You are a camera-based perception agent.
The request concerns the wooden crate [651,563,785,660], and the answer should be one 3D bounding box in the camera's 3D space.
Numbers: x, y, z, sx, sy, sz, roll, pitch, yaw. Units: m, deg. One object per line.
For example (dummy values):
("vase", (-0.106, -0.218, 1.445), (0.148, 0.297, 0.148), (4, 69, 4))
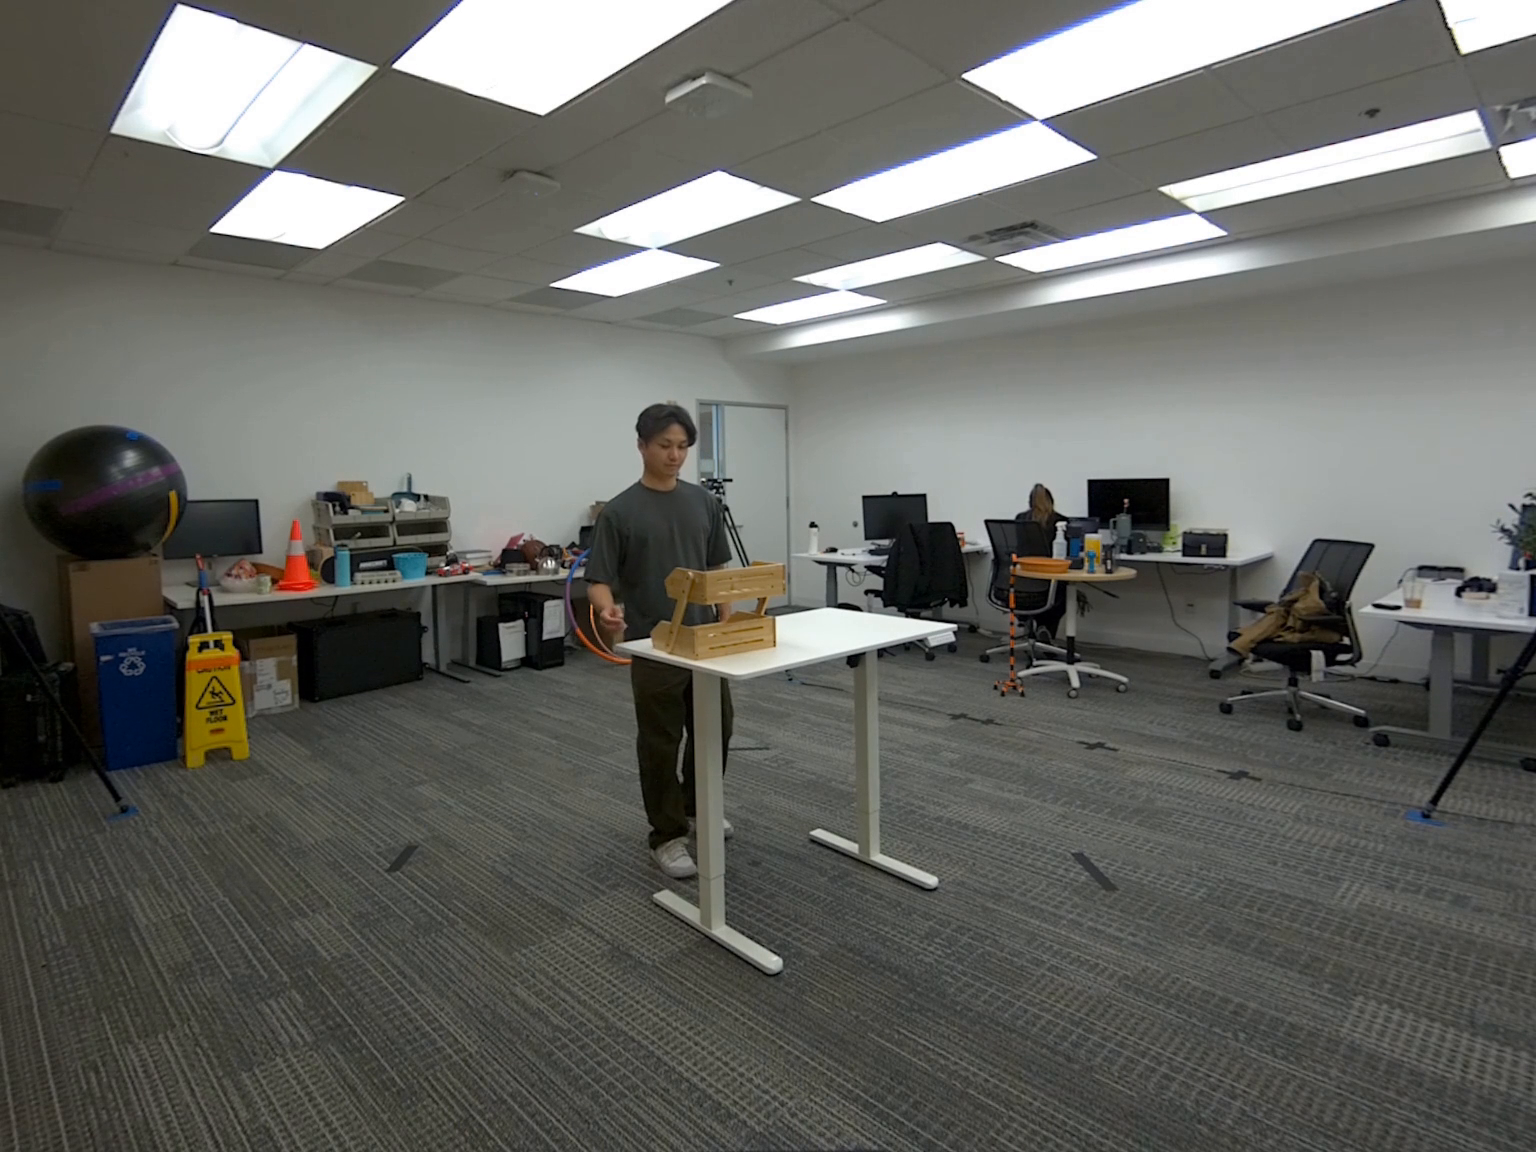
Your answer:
("wooden crate", (-0.151, 0.092, 2.607), (0.316, 0.272, 0.311), (-6, 7, -37))
